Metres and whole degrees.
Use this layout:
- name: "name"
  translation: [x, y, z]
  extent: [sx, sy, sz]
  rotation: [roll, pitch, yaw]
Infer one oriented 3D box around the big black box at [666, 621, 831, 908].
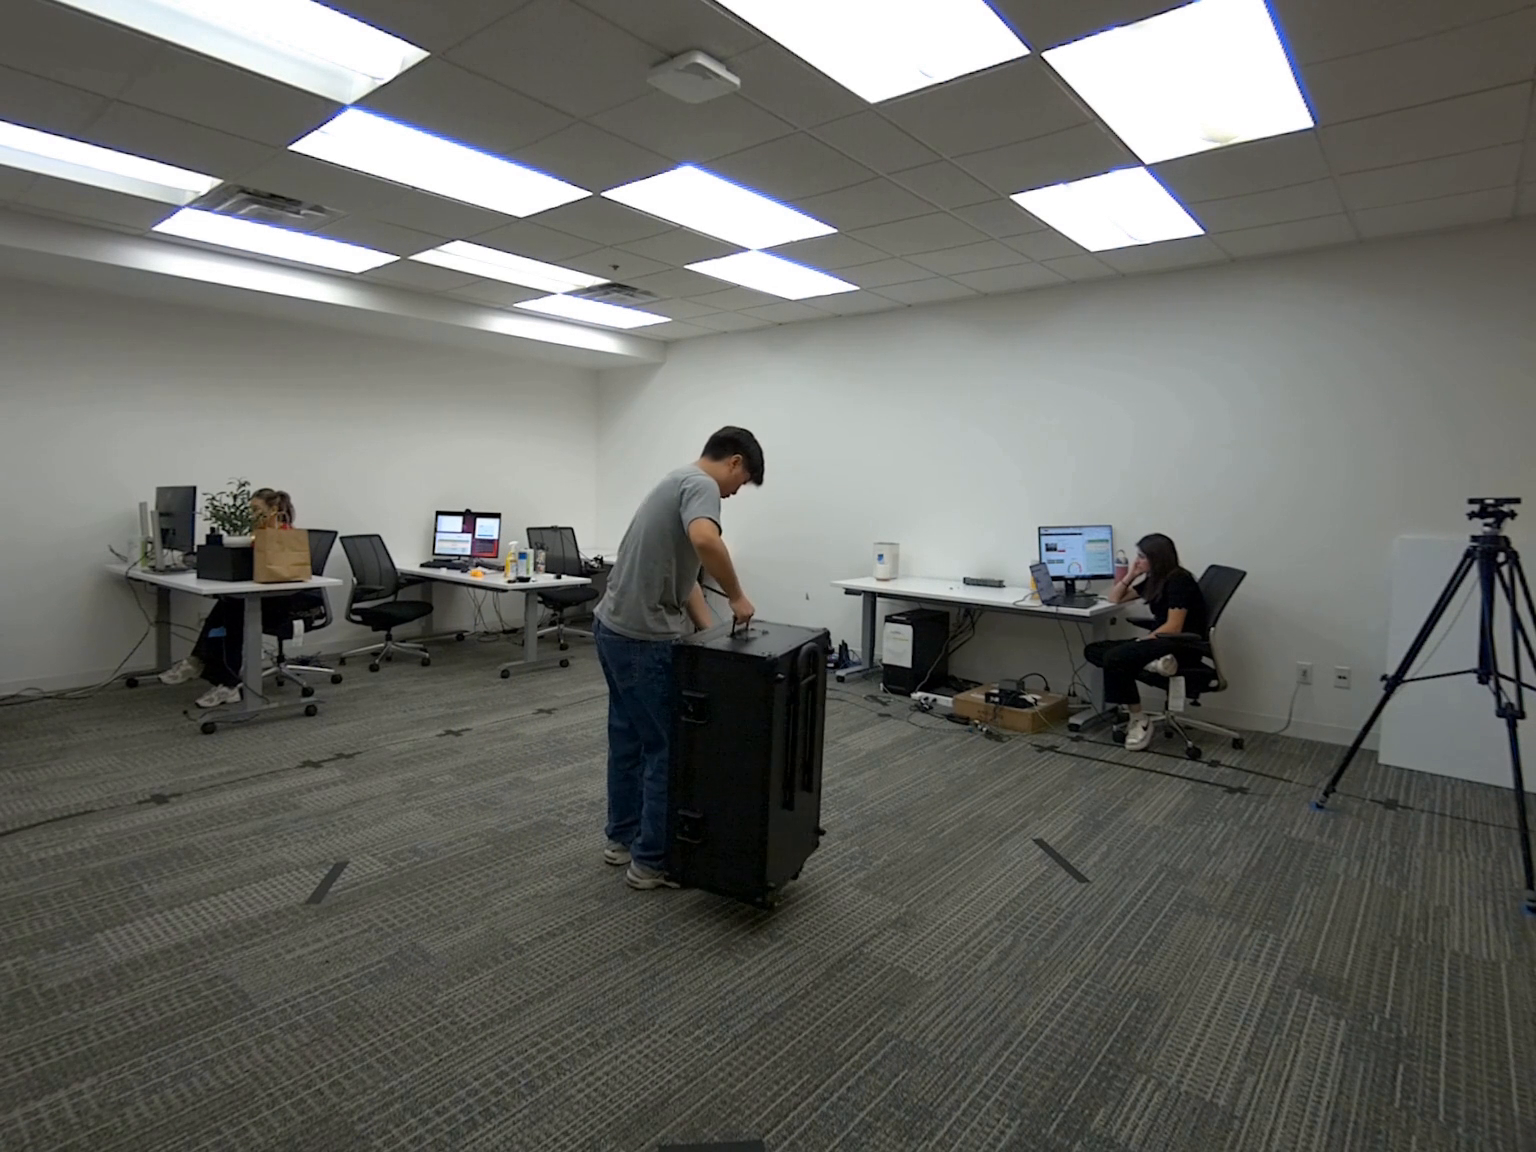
- name: "big black box"
  translation: [-0.059, 0.556, 2.816]
  extent: [0.407, 0.856, 0.510]
  rotation: [5, 8, 25]
